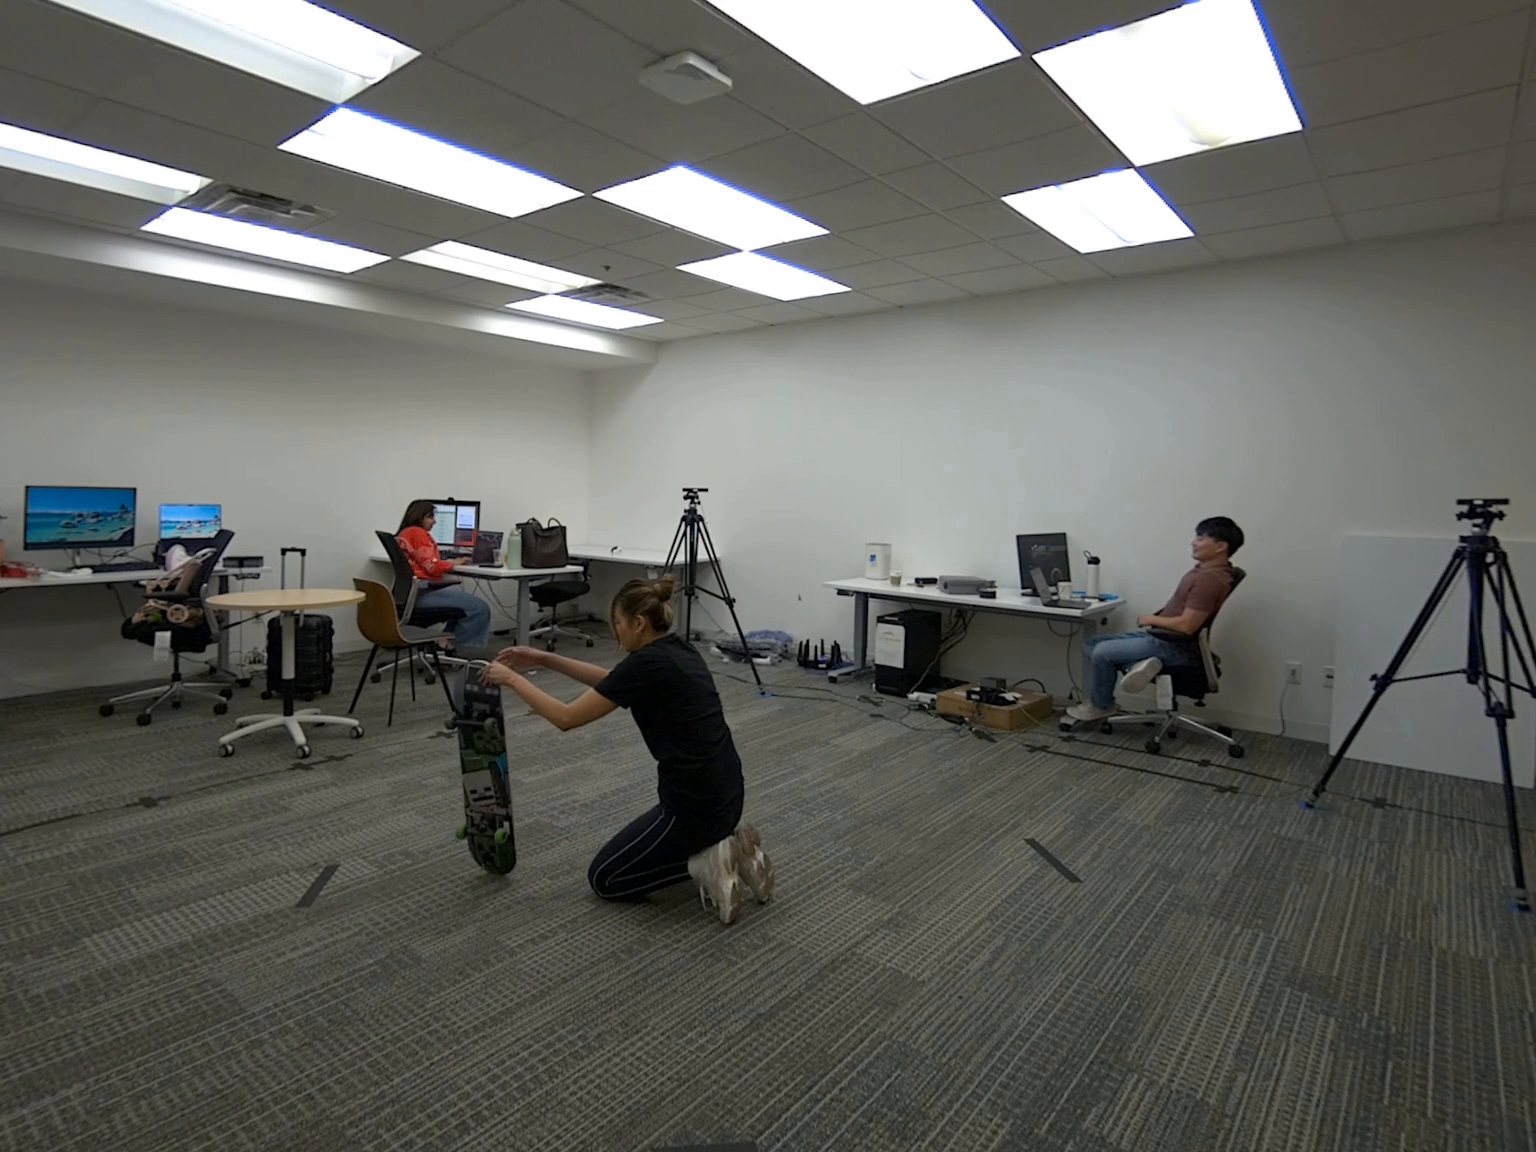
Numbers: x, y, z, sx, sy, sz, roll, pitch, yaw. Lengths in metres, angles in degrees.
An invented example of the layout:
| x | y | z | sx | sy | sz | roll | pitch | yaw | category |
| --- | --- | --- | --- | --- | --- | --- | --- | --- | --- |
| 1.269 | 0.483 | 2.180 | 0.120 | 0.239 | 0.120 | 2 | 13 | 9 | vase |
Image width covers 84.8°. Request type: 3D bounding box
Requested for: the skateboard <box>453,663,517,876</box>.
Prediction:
| x | y | z | sx | sy | sz | roll | pitch | yaw | category |
| --- | --- | --- | --- | --- | --- | --- | --- | --- | --- |
| -1.008 | 0.695 | 2.936 | 0.197 | 0.778 | 0.109 | -1 | 9 | 17 | skateboard |
